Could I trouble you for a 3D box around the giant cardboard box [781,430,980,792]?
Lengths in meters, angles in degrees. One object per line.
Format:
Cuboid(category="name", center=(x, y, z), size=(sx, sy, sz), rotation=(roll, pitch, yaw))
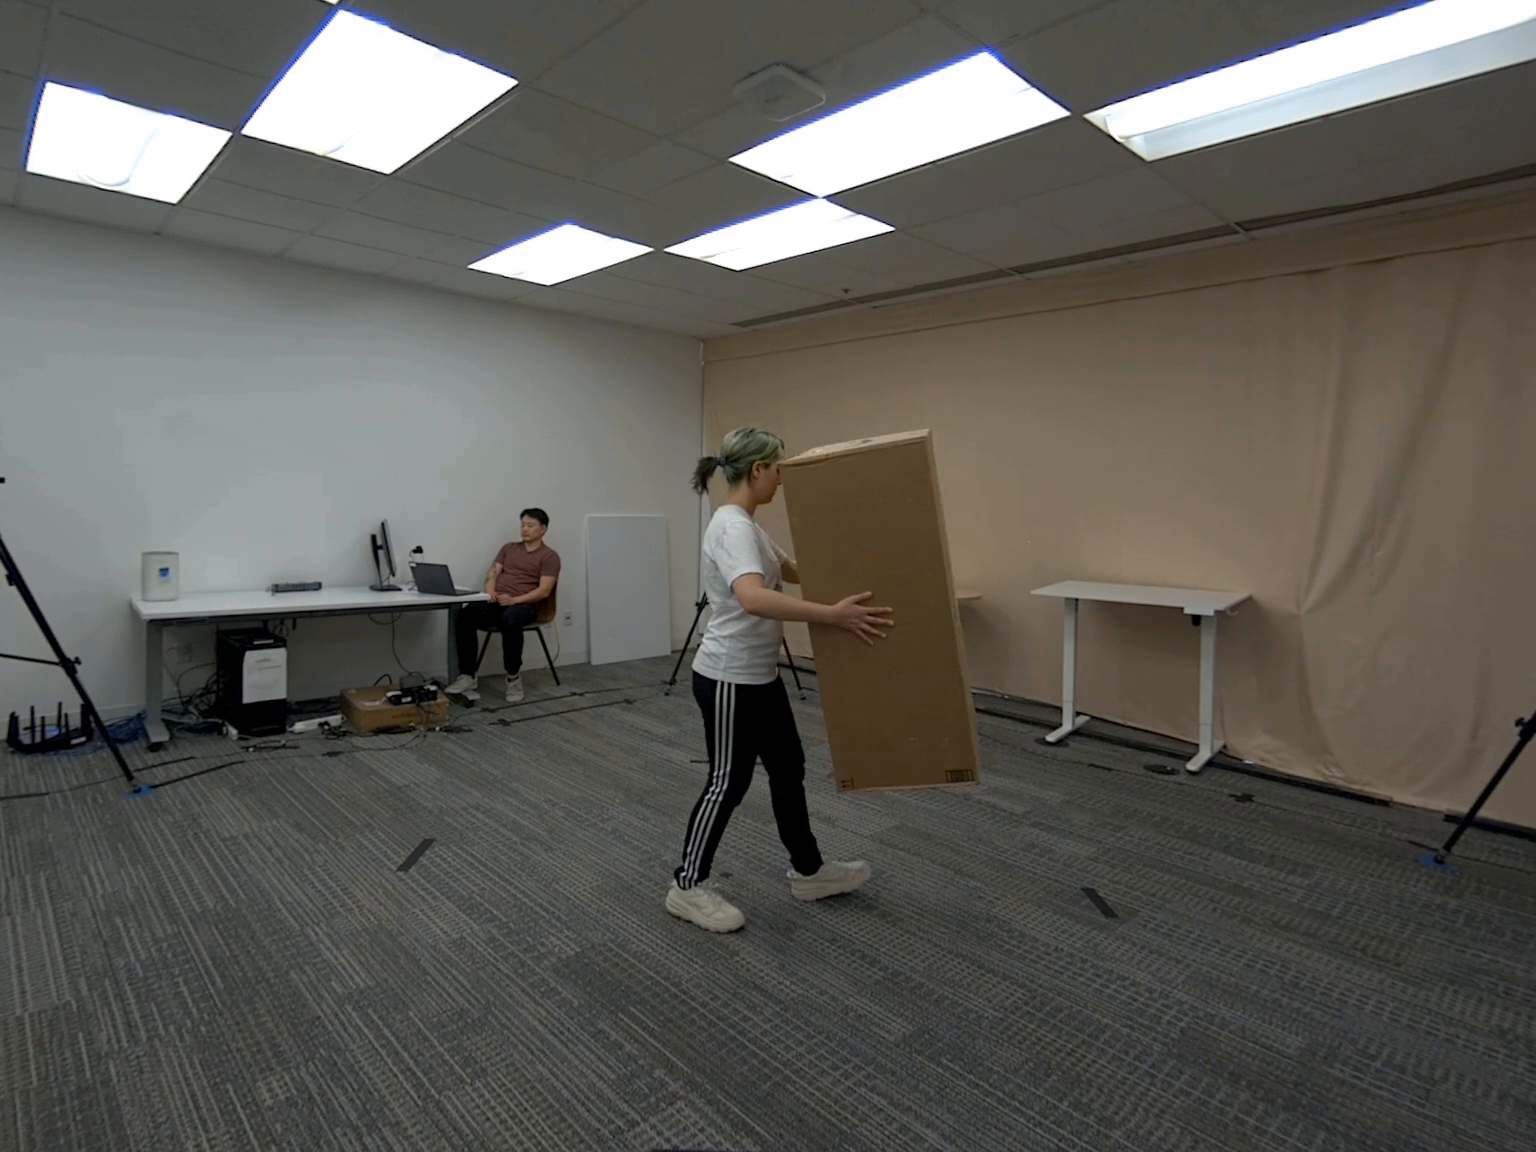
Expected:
Cuboid(category="giant cardboard box", center=(0.373, 0.084, 2.695), size=(0.451, 1.020, 0.582), rotation=(-8, 9, 14))
